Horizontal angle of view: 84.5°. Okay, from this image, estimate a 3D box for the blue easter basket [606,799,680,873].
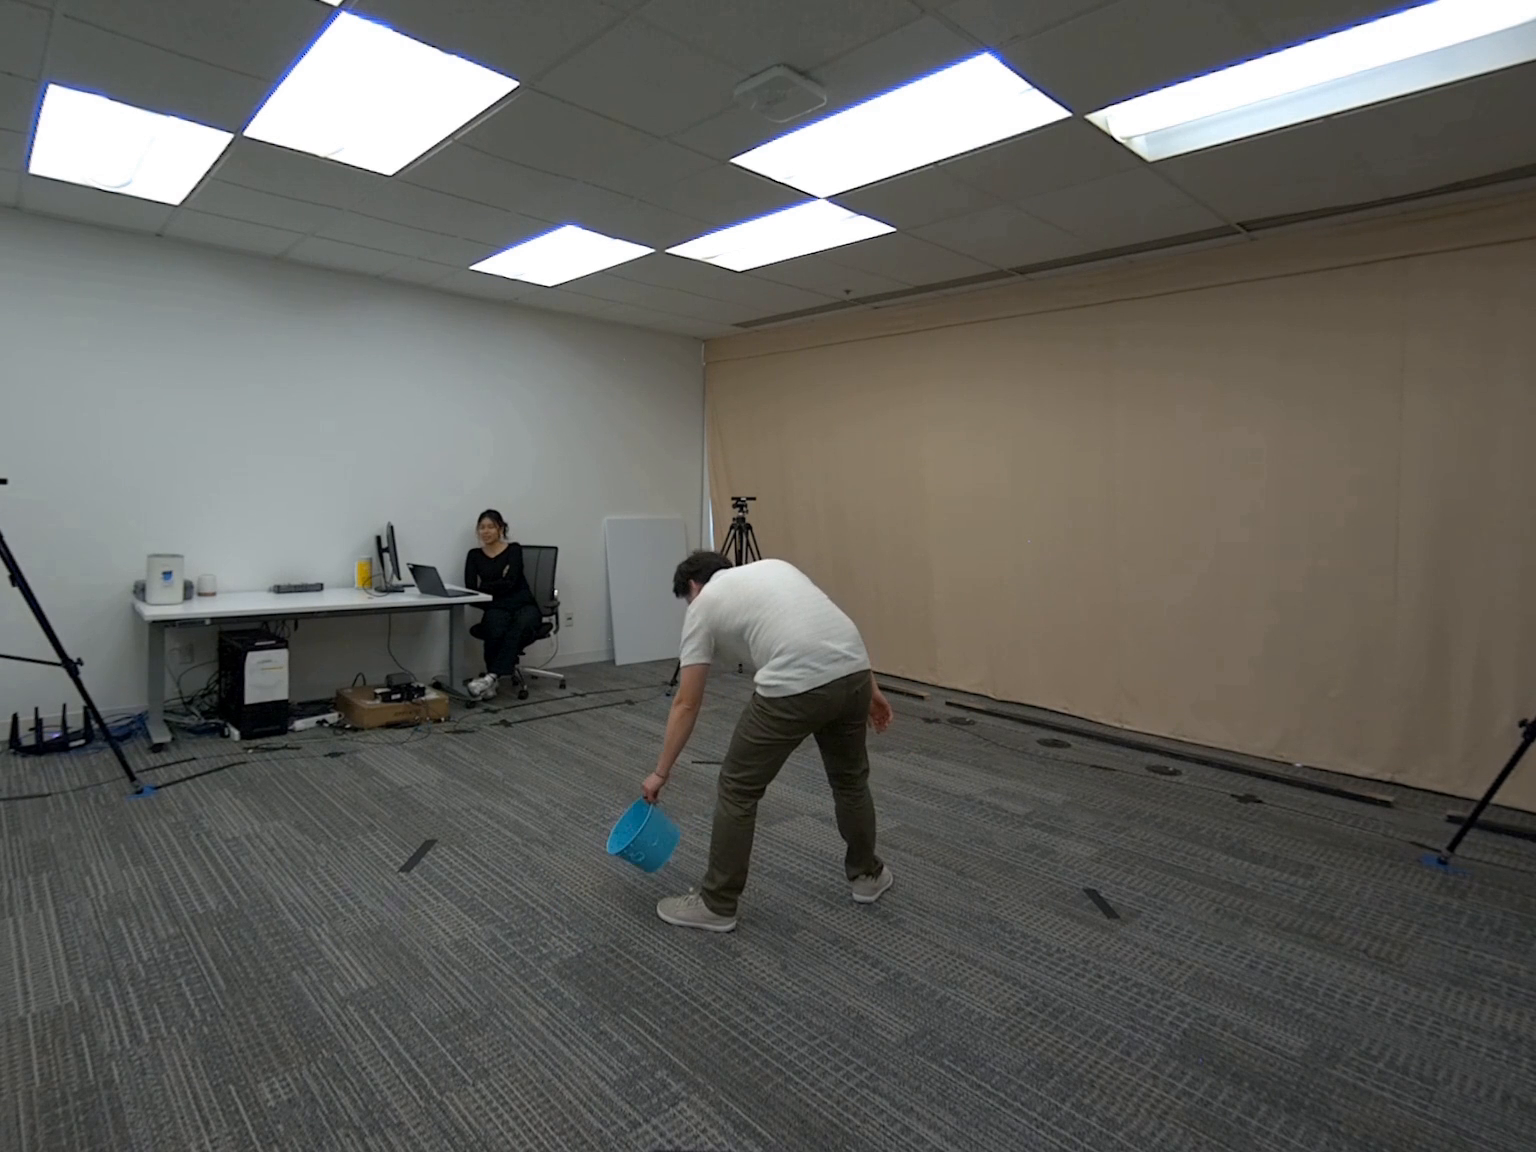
[{"bbox_3d":[-0.414,0.884,2.864,0.154,0.243,0.247,43,-6,-13],"label":"blue easter basket"}]
